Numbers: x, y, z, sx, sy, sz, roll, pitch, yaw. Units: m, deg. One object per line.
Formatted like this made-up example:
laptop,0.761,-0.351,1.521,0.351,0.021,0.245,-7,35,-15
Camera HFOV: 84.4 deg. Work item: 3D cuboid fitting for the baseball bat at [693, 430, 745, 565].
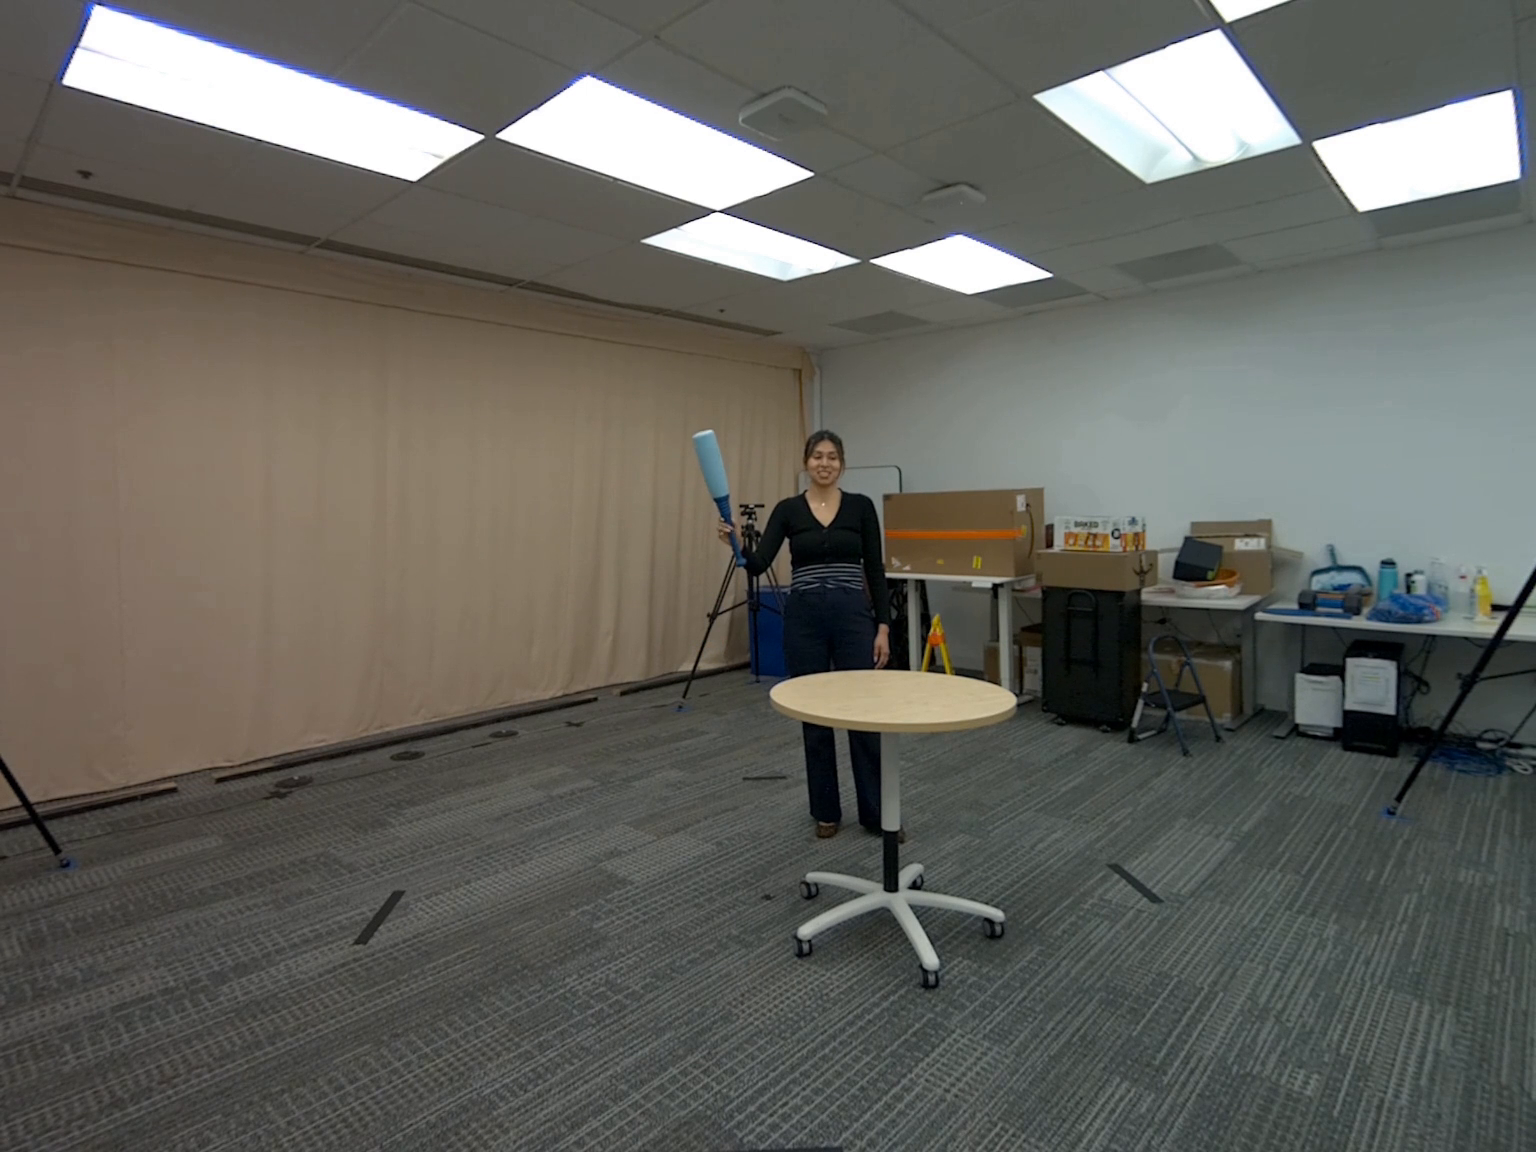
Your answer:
baseball bat,-0.172,-0.288,3.215,0.089,0.536,0.090,-14,14,2
